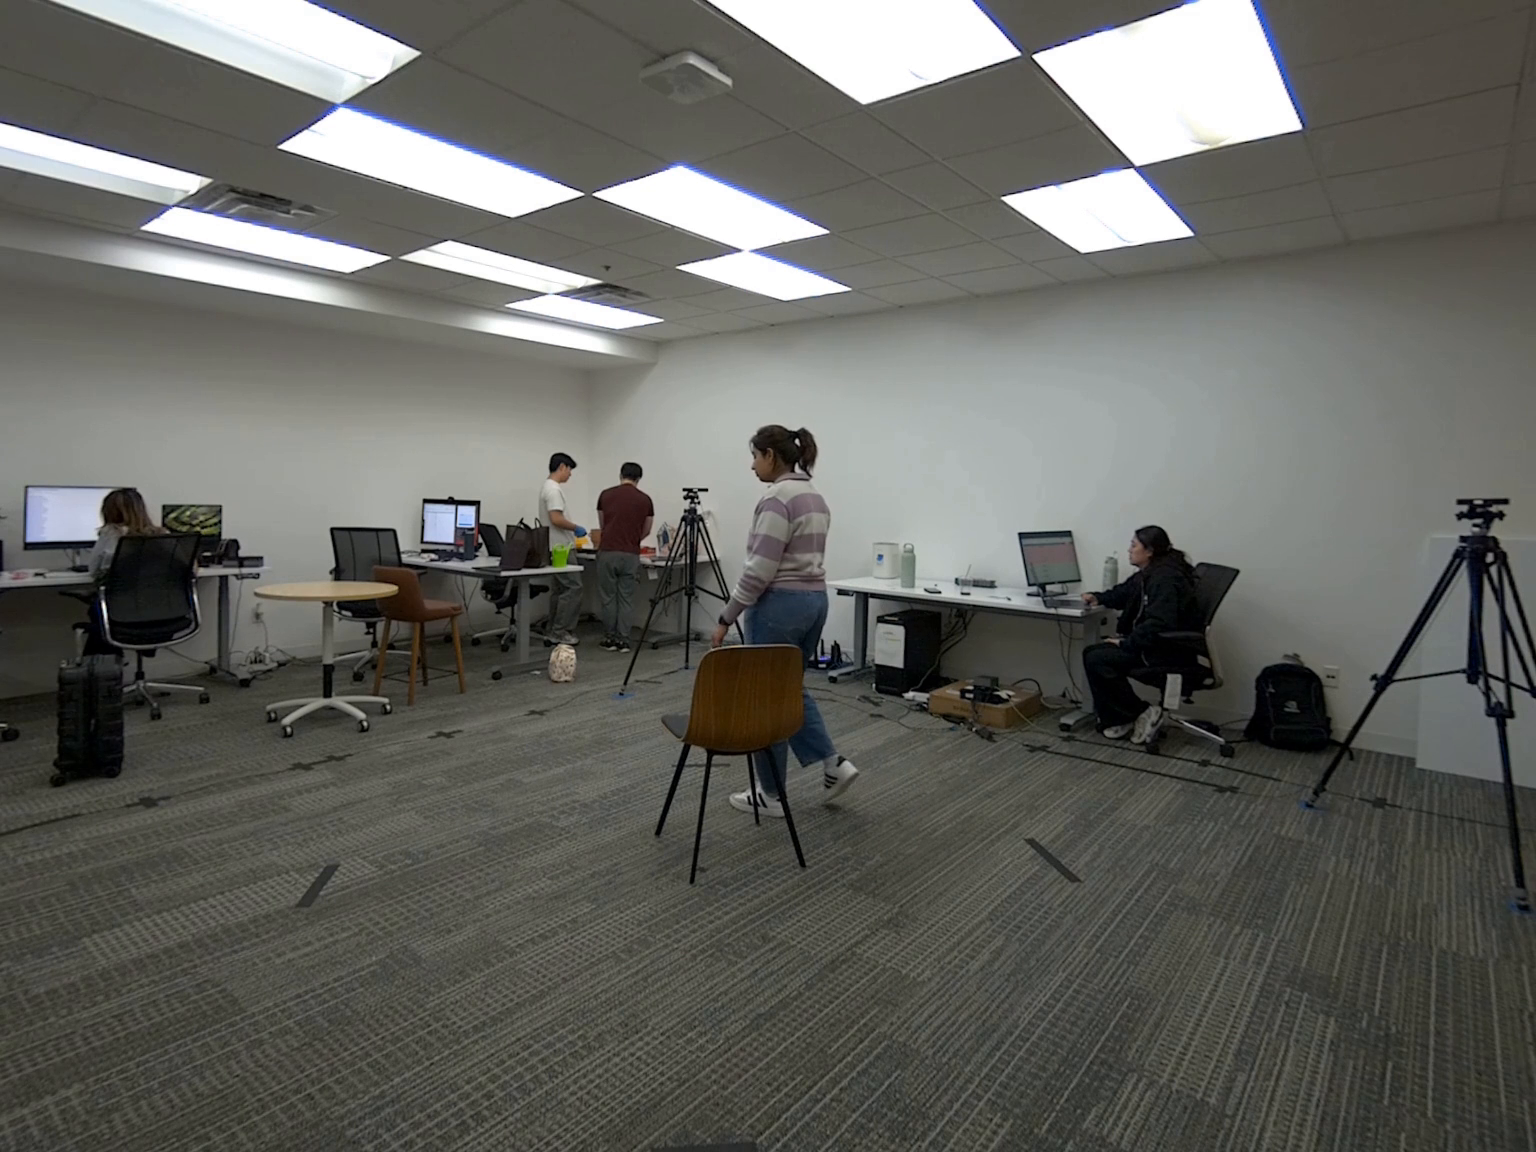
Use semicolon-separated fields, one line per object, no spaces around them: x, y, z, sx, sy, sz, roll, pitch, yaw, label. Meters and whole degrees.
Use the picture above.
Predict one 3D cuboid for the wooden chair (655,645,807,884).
-0.162;0.628;3.255;0.468;0.872;0.538;0;8;-22;wooden chair
